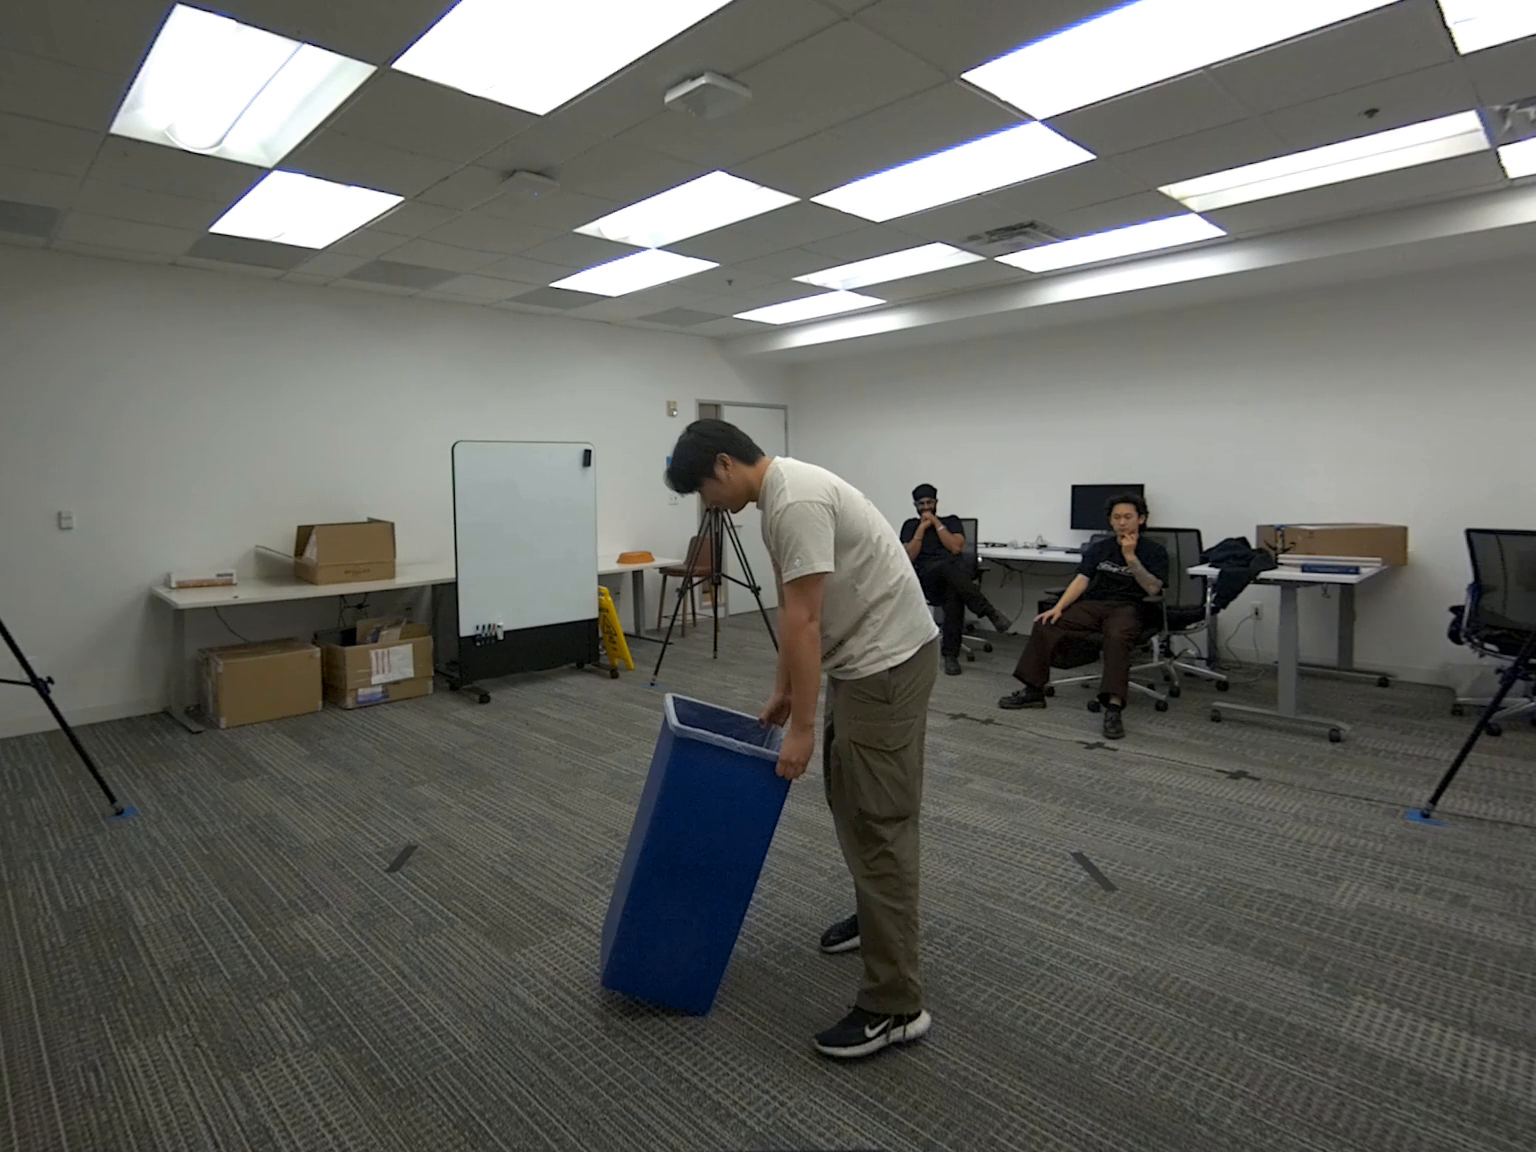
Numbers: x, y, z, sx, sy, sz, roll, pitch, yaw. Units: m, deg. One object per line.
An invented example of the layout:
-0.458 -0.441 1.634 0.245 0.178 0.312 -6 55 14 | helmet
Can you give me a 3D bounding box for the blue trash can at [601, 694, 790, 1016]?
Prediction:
-0.207 0.749 2.349 0.370 0.713 0.382 18 0 -9 | blue trash can
